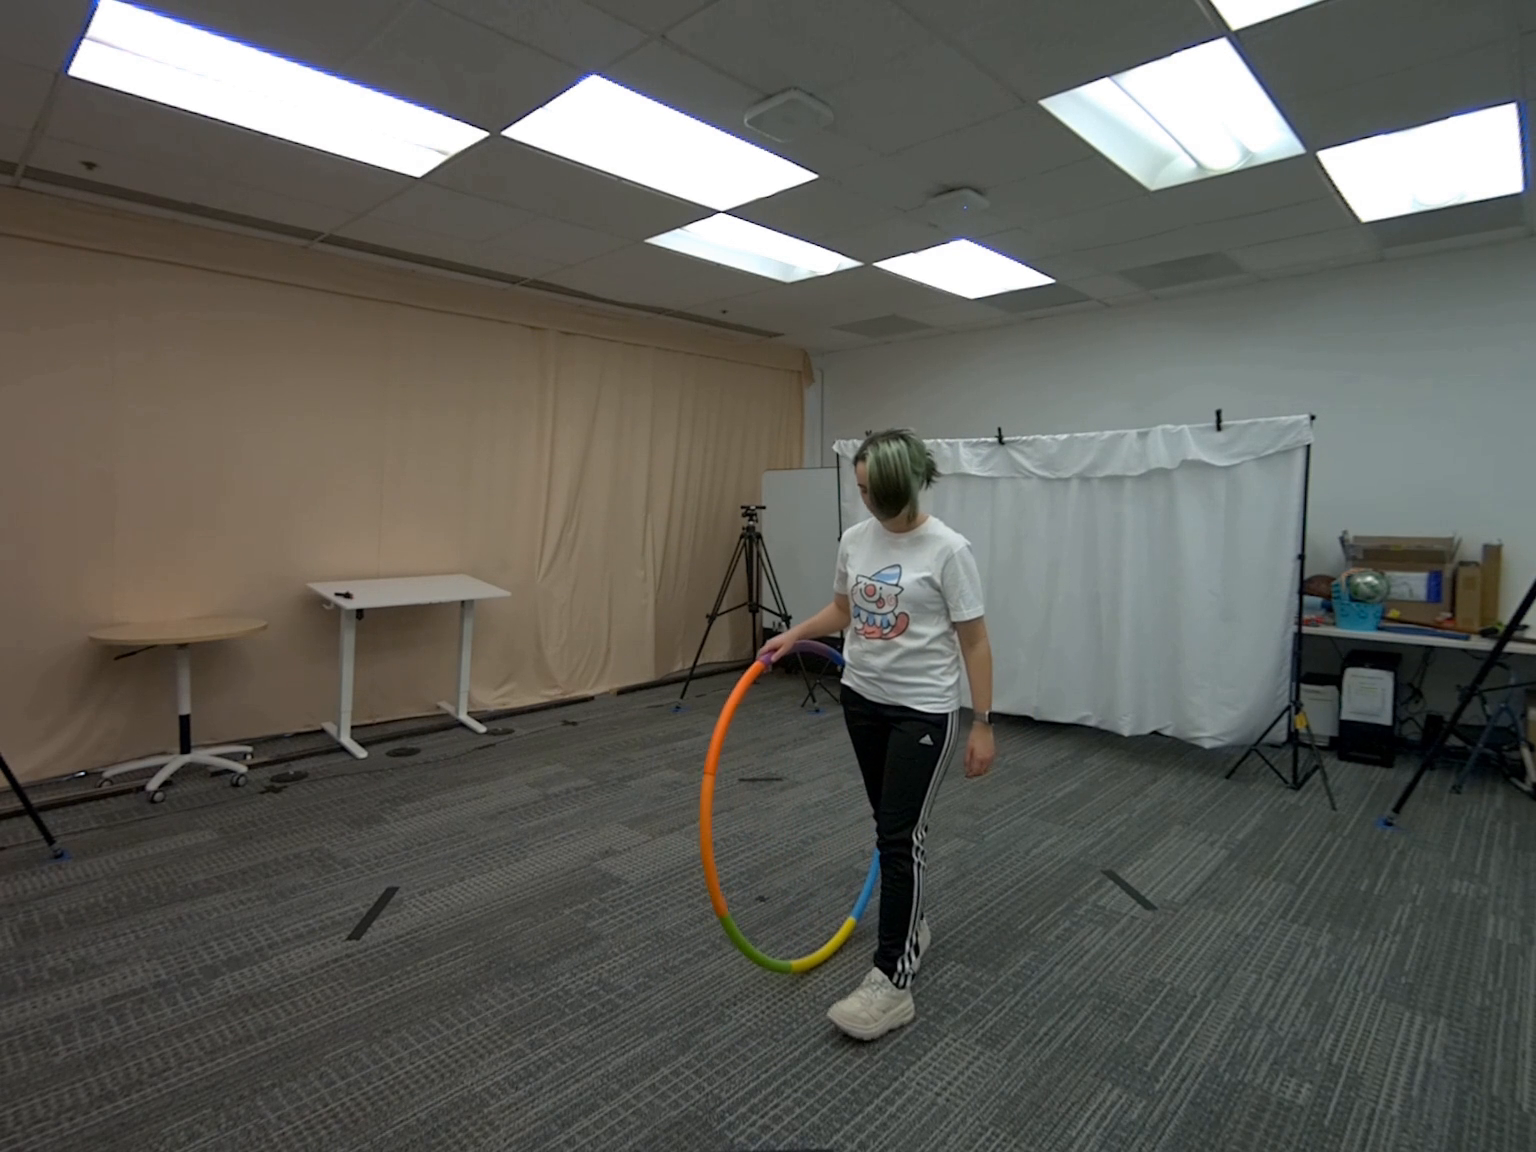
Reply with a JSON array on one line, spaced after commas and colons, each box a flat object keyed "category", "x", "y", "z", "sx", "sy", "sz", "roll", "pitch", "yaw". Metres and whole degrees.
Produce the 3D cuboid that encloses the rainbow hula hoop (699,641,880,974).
[{"category": "rainbow hula hoop", "x": 0.130, "y": 0.686, "z": 2.592, "sx": 0.036, "sy": 0.979, "sz": 0.949, "roll": -6, "pitch": -1, "yaw": 39}]
